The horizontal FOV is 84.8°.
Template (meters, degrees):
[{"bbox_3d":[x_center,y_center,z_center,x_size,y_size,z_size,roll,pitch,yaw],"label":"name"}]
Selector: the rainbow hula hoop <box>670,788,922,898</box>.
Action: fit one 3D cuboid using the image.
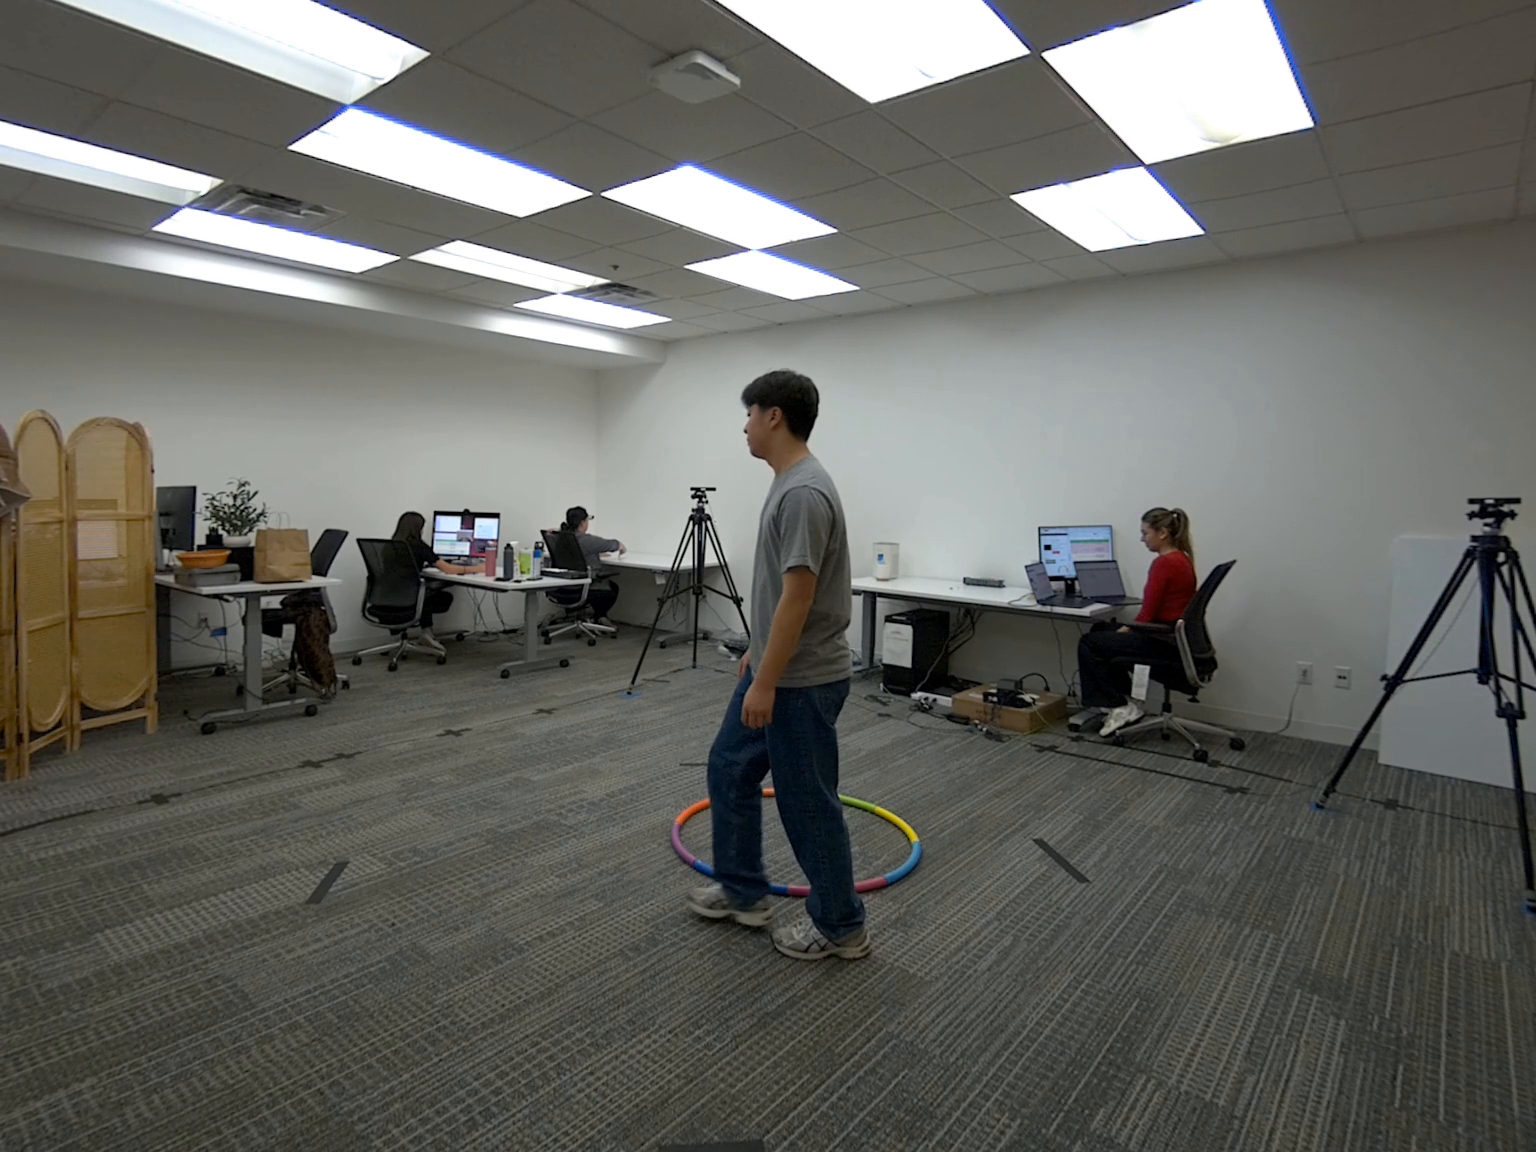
[{"bbox_3d":[0.096,1.016,3.379,0.978,0.035,0.984,1,6,-2],"label":"rainbow hula hoop"}]
